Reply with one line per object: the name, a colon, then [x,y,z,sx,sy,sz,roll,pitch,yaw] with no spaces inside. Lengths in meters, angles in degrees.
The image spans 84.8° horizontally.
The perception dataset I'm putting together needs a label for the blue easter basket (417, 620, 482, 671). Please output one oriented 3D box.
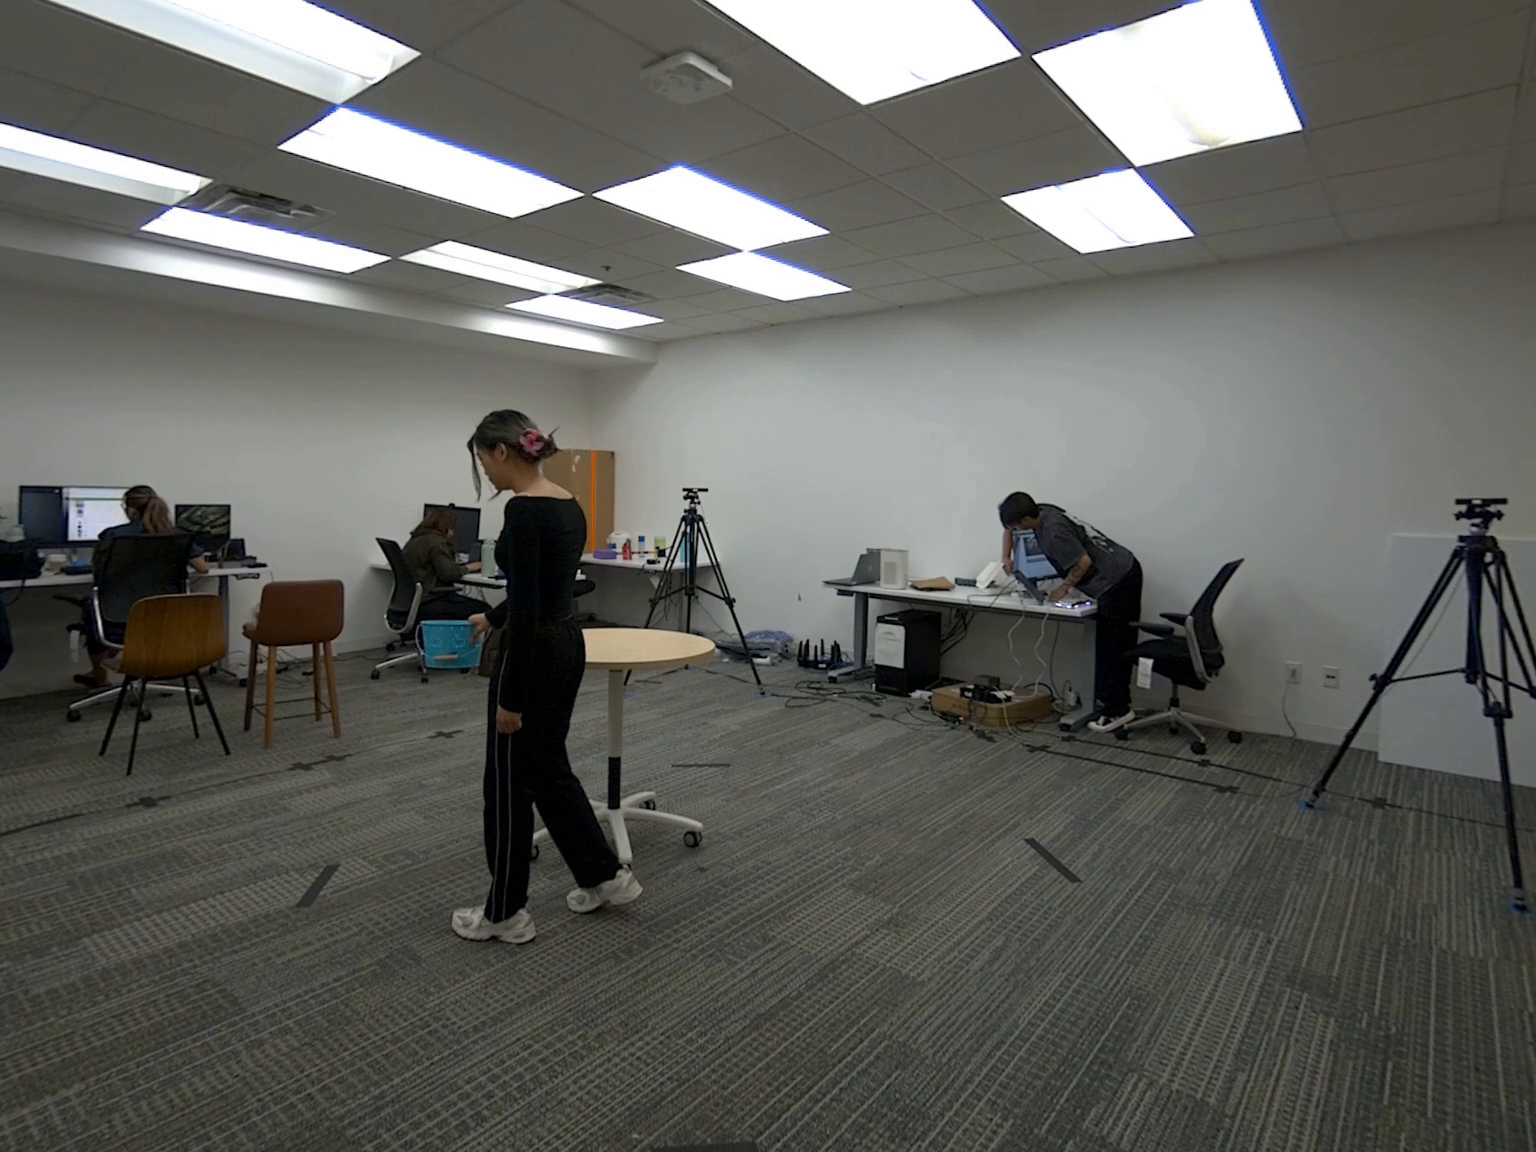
blue easter basket: [-1.135,0.238,3.006,0.243,0.156,0.243,0,-2,-2]
